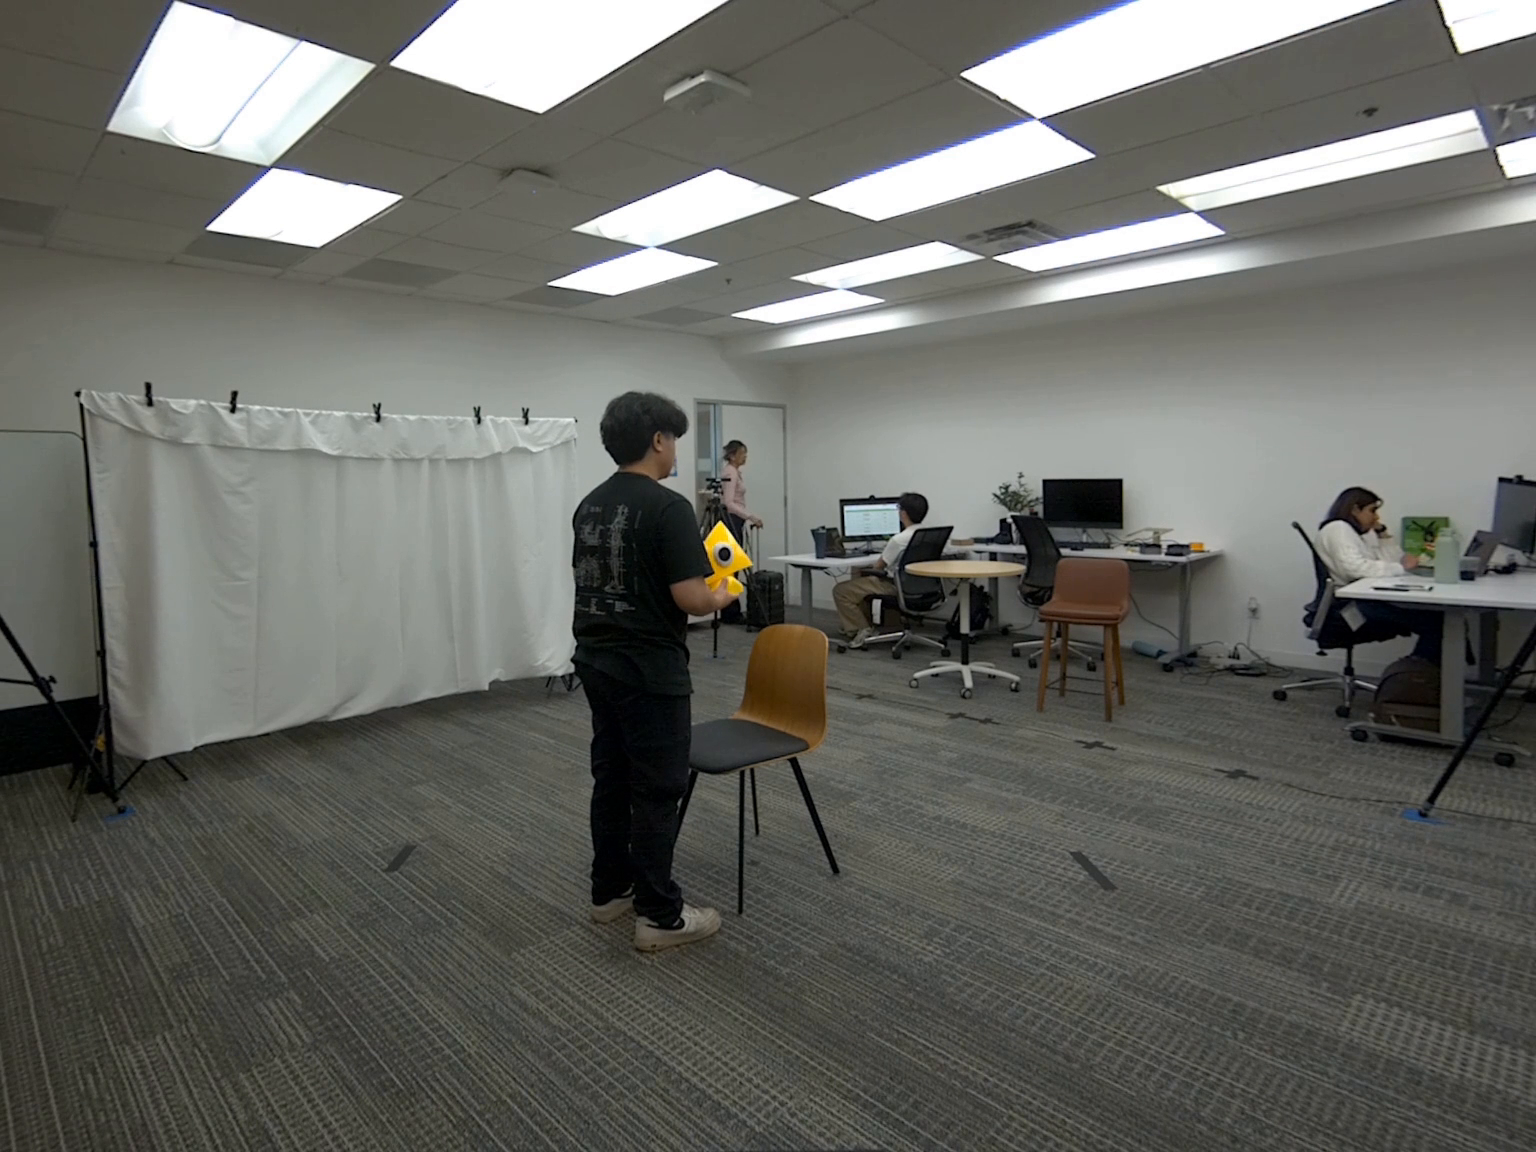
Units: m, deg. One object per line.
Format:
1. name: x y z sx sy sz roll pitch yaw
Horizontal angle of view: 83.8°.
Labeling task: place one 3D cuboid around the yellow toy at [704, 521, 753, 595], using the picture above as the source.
1. yellow toy: -0.187 -0.061 2.853 0.211 0.229 0.189 3 10 35
